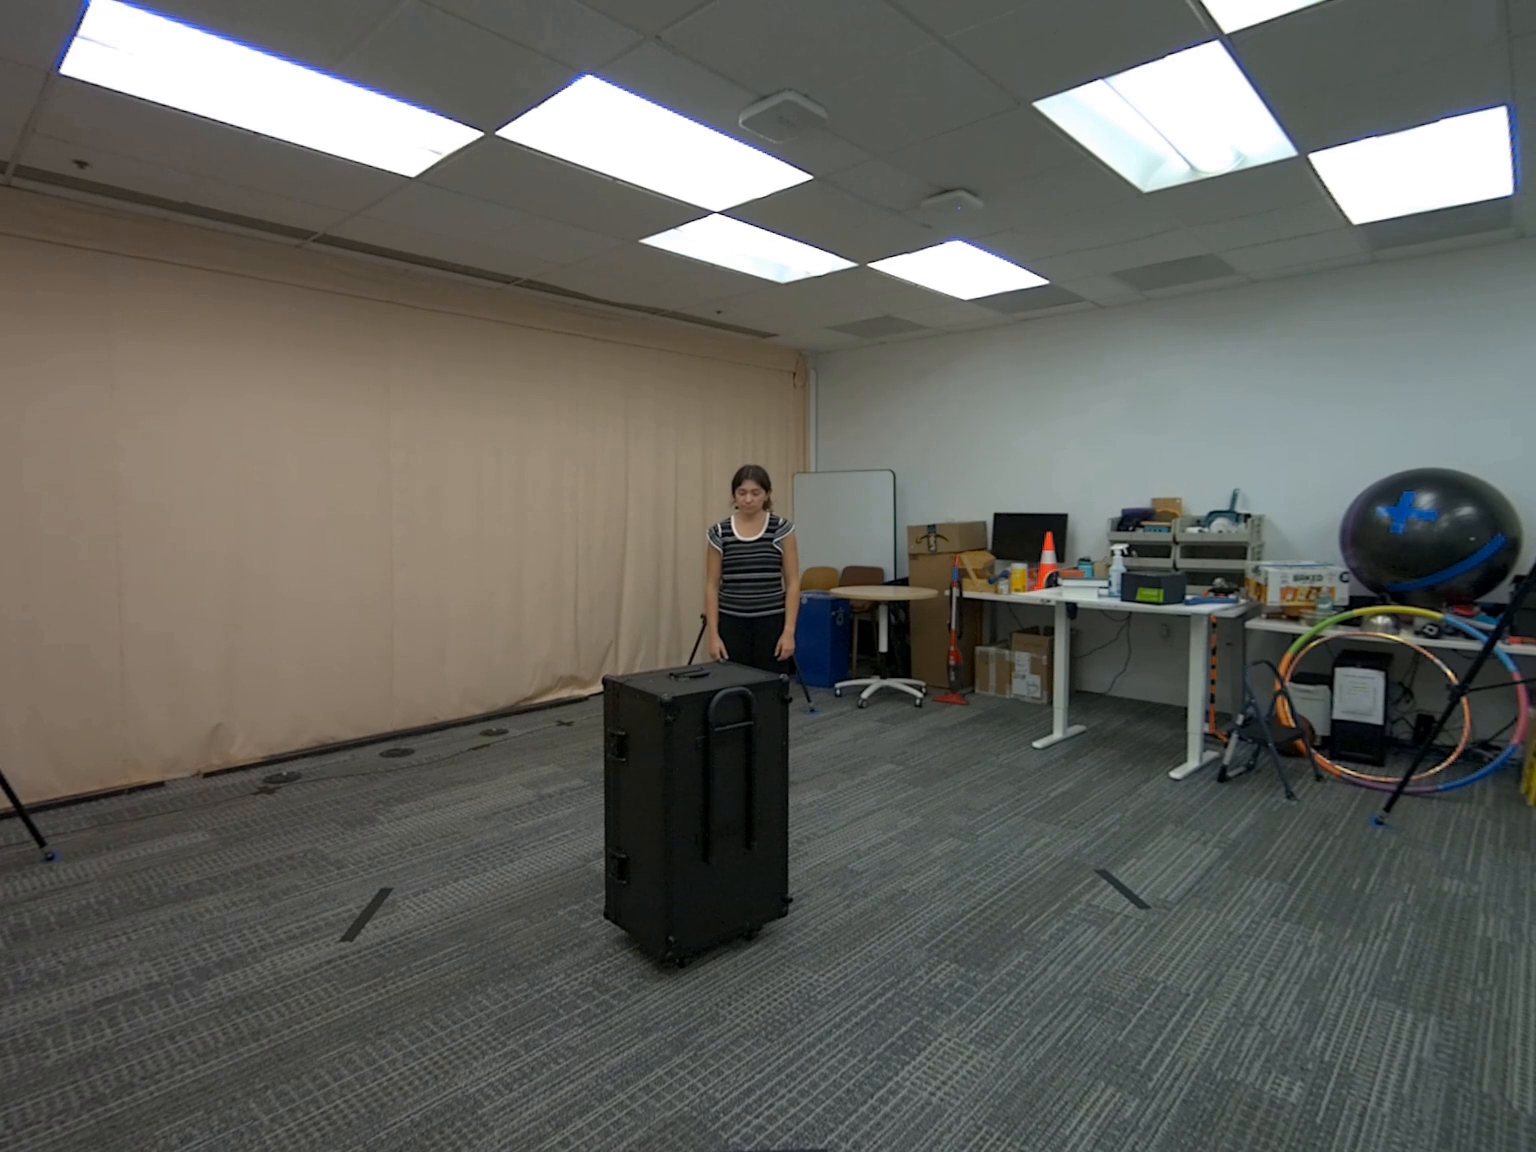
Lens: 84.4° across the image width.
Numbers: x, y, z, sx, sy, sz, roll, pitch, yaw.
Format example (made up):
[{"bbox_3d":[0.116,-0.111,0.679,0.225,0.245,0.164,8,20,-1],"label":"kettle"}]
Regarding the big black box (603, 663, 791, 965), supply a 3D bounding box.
[{"bbox_3d":[-0.215,0.740,2.693,0.505,0.859,0.409,-2,5,-39],"label":"big black box"}]
